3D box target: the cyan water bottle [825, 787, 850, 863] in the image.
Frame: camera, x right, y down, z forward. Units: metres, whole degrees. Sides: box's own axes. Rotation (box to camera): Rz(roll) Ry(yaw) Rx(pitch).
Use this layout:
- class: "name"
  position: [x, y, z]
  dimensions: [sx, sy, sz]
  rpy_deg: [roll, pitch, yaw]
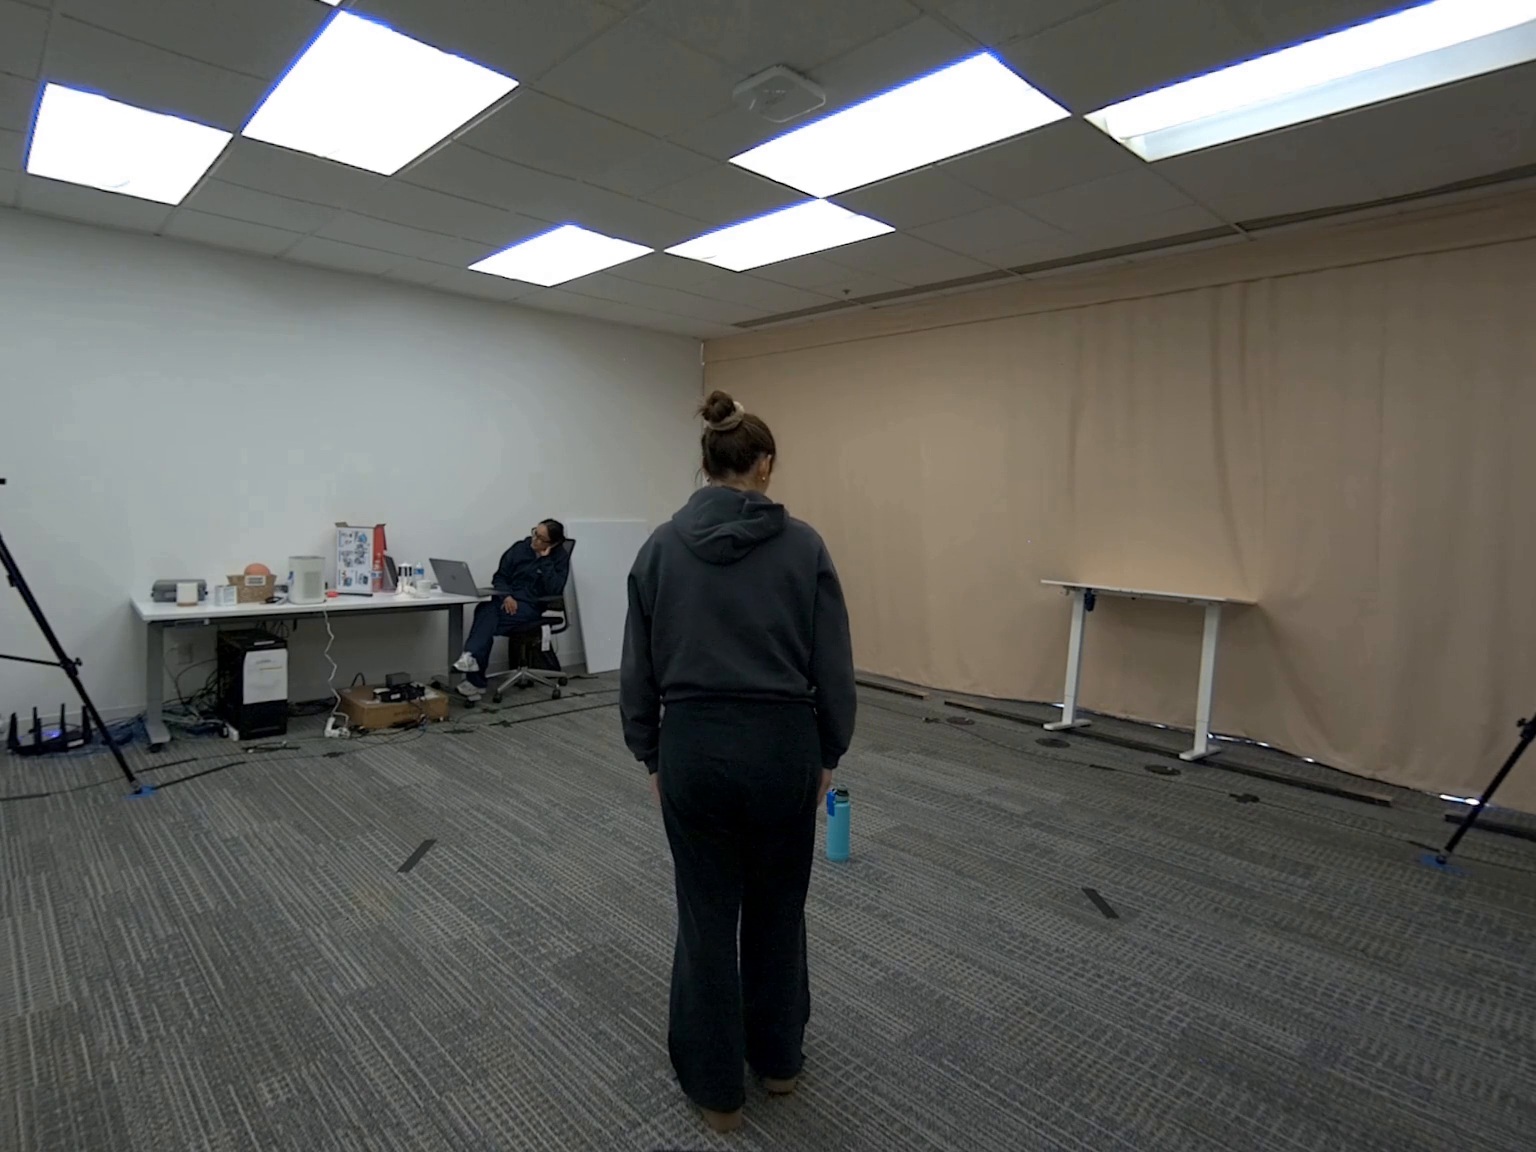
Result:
- class: "cyan water bottle"
  position: [0.267, 0.958, 3.297]
  dimensions: [0.092, 0.283, 0.092]
  rpy_deg: [1, 3, -1]
